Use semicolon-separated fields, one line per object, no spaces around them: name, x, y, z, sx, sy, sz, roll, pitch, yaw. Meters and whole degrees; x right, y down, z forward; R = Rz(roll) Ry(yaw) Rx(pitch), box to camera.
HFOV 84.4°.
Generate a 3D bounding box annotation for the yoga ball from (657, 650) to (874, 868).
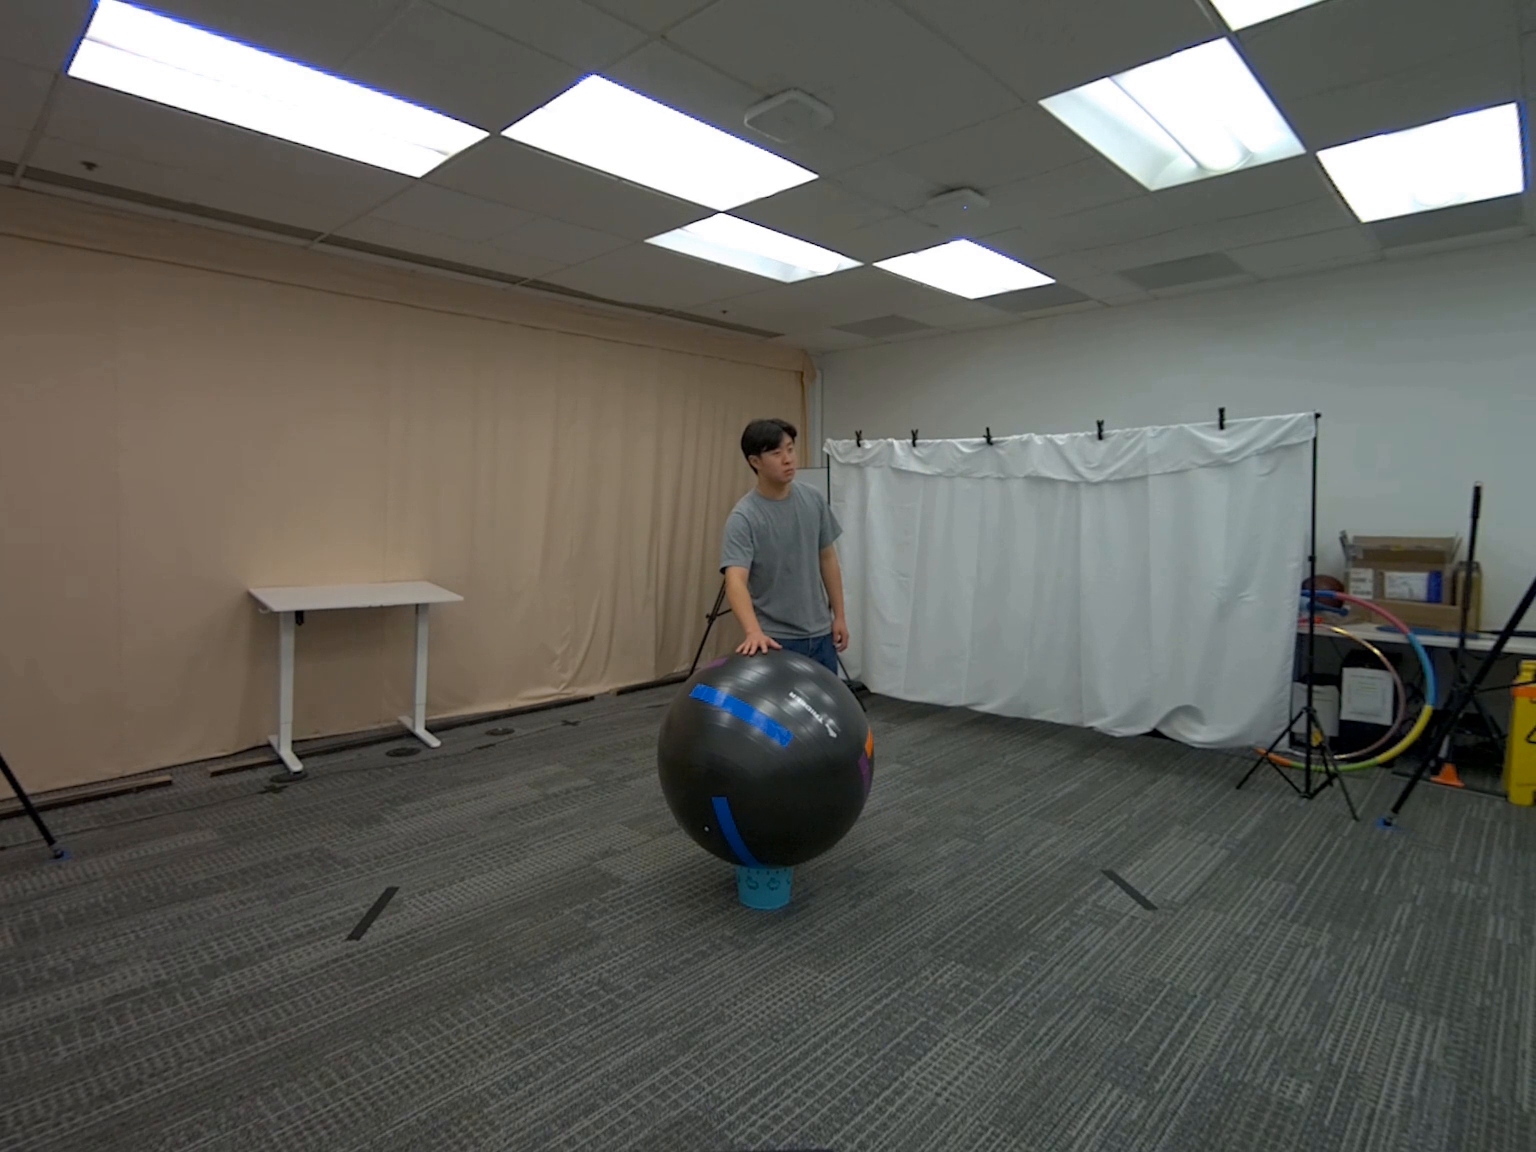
yoga ball;-0.013;0.628;2.976;0.757;0.756;0.760;0;4;-2
